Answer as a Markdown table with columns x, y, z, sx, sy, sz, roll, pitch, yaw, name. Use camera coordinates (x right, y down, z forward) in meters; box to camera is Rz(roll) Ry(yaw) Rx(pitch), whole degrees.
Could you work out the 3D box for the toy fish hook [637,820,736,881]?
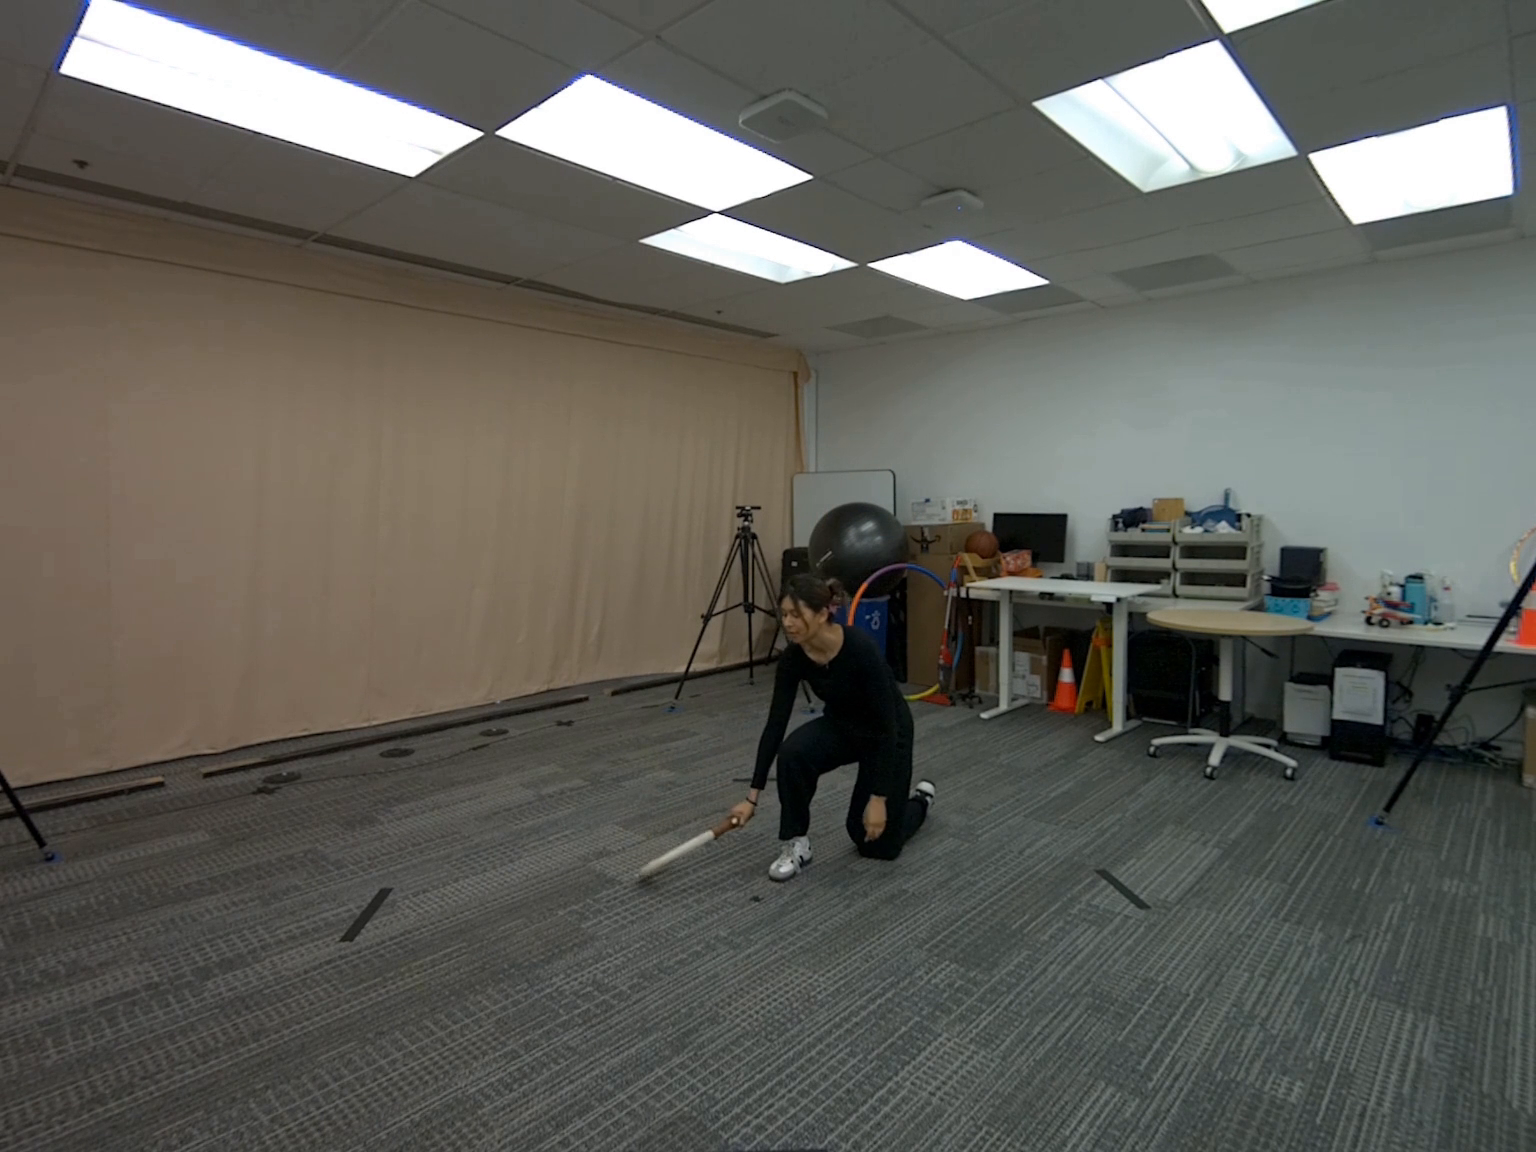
| x | y | z | sx | sy | sz | roll | pitch | yaw | name |
| --- | --- | --- | --- | --- | --- | --- | --- | --- | --- |
| -0.268 | 0.999 | 3.167 | 0.497 | 0.049 | 0.226 | -19 | -13 | -26 | toy fish hook |
